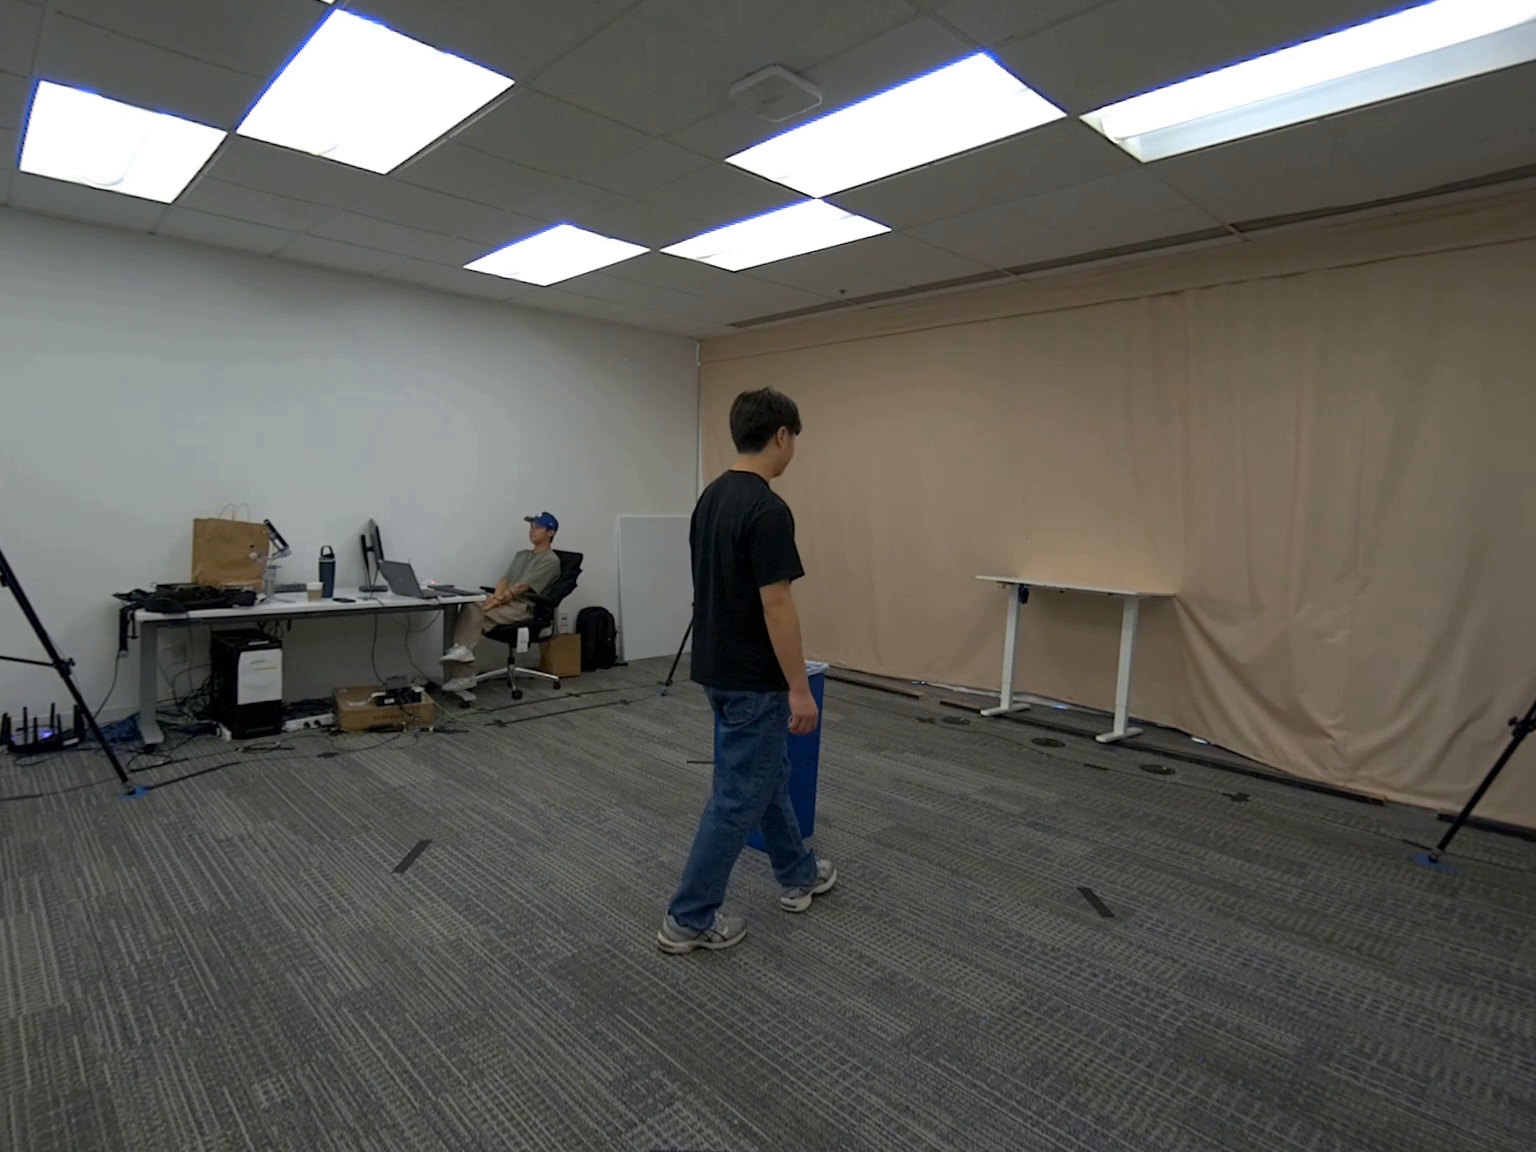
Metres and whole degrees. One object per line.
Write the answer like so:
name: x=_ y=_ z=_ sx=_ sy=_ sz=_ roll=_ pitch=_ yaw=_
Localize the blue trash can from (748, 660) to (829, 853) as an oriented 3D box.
blue trash can: x=-0.004 y=0.721 z=3.508 sx=0.388 sy=0.712 sz=0.365 roll=5 pitch=4 yaw=42
